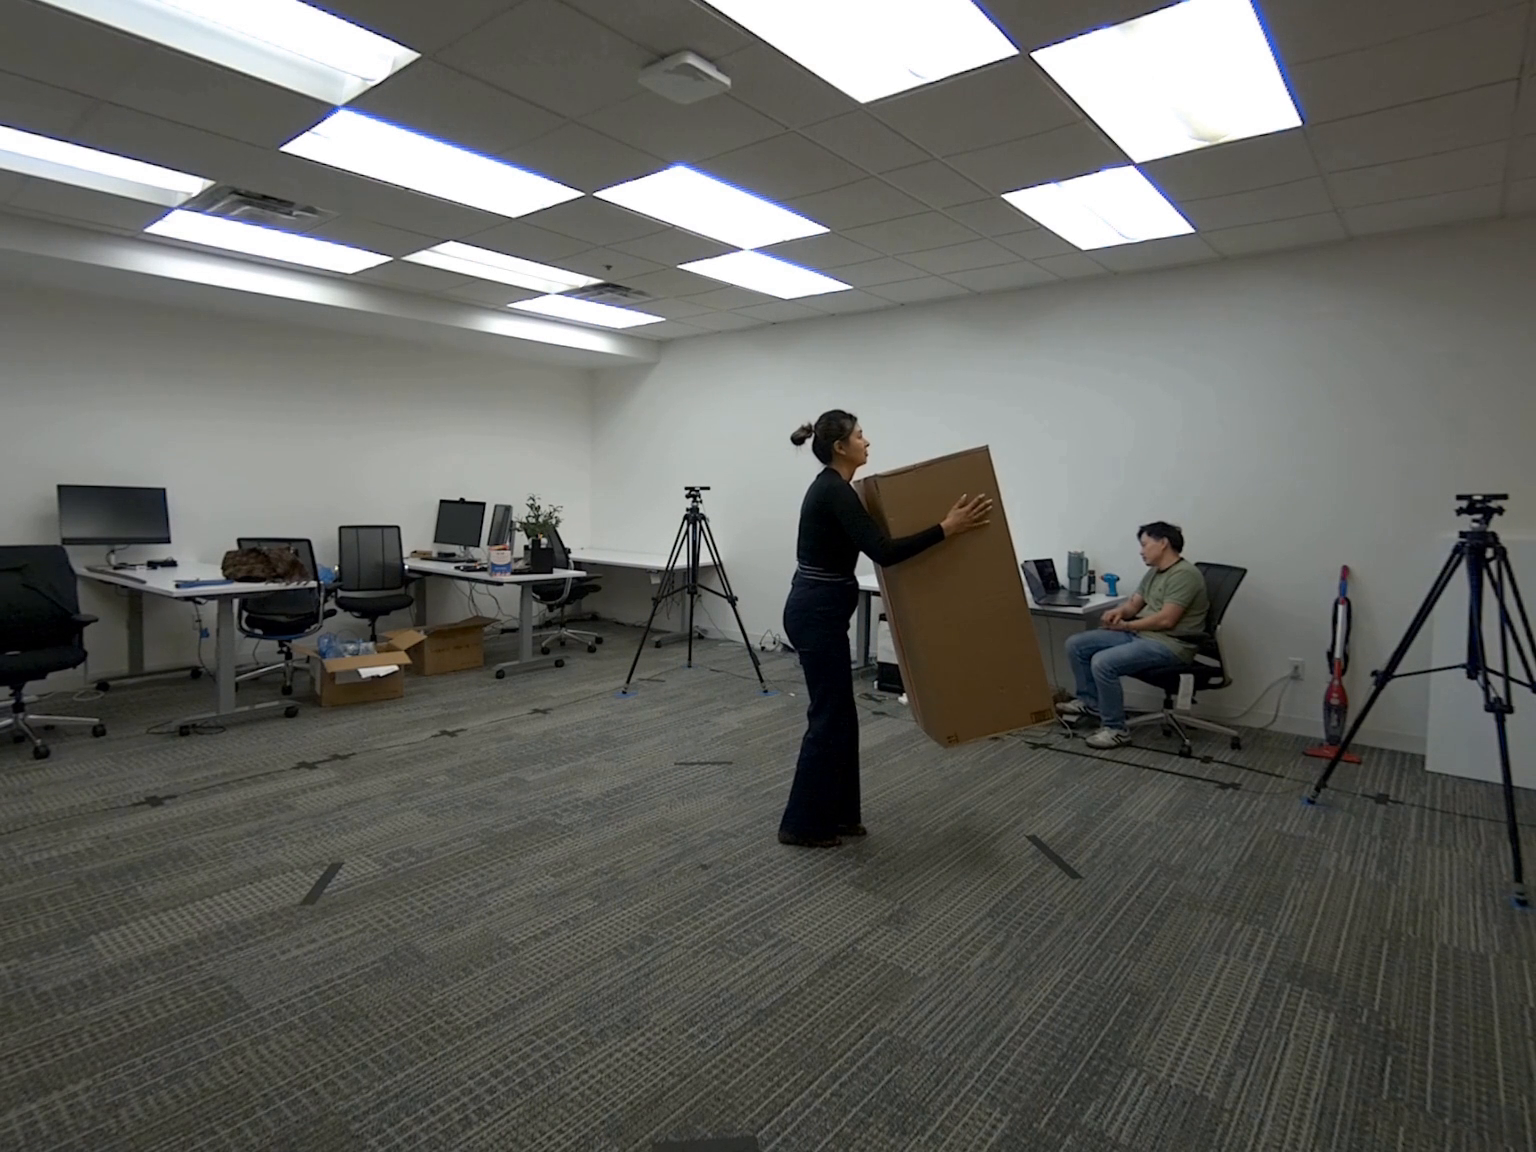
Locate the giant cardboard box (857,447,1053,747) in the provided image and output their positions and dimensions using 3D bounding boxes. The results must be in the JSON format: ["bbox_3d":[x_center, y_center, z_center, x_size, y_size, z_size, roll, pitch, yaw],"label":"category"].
[{"bbox_3d":[0.692,0.062,3.331,0.426,1.024,0.578,-14,2,0],"label":"giant cardboard box"}]
